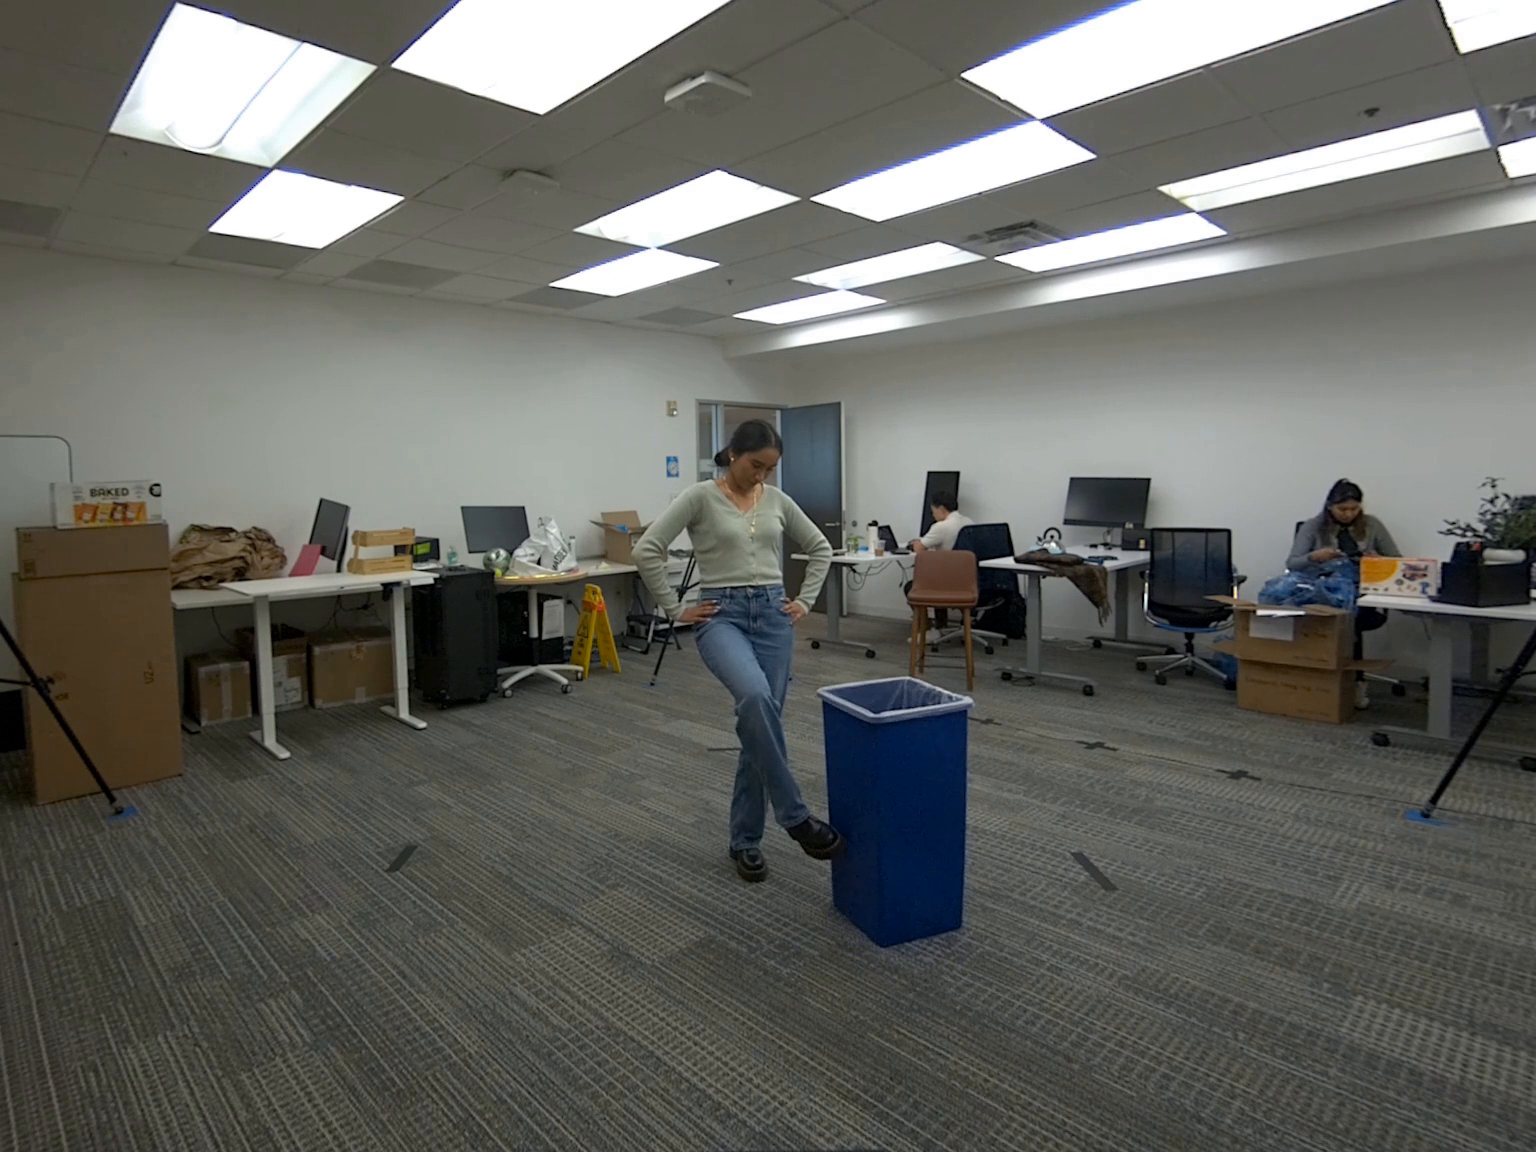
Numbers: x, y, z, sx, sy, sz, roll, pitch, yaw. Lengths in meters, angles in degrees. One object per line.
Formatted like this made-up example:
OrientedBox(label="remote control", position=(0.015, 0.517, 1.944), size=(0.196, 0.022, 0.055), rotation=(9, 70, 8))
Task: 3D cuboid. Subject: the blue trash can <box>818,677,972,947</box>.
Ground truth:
OrientedBox(label="blue trash can", position=(0.396, 0.724, 2.697), size=(0.370, 0.711, 0.383), rotation=(-3, 5, -25))
